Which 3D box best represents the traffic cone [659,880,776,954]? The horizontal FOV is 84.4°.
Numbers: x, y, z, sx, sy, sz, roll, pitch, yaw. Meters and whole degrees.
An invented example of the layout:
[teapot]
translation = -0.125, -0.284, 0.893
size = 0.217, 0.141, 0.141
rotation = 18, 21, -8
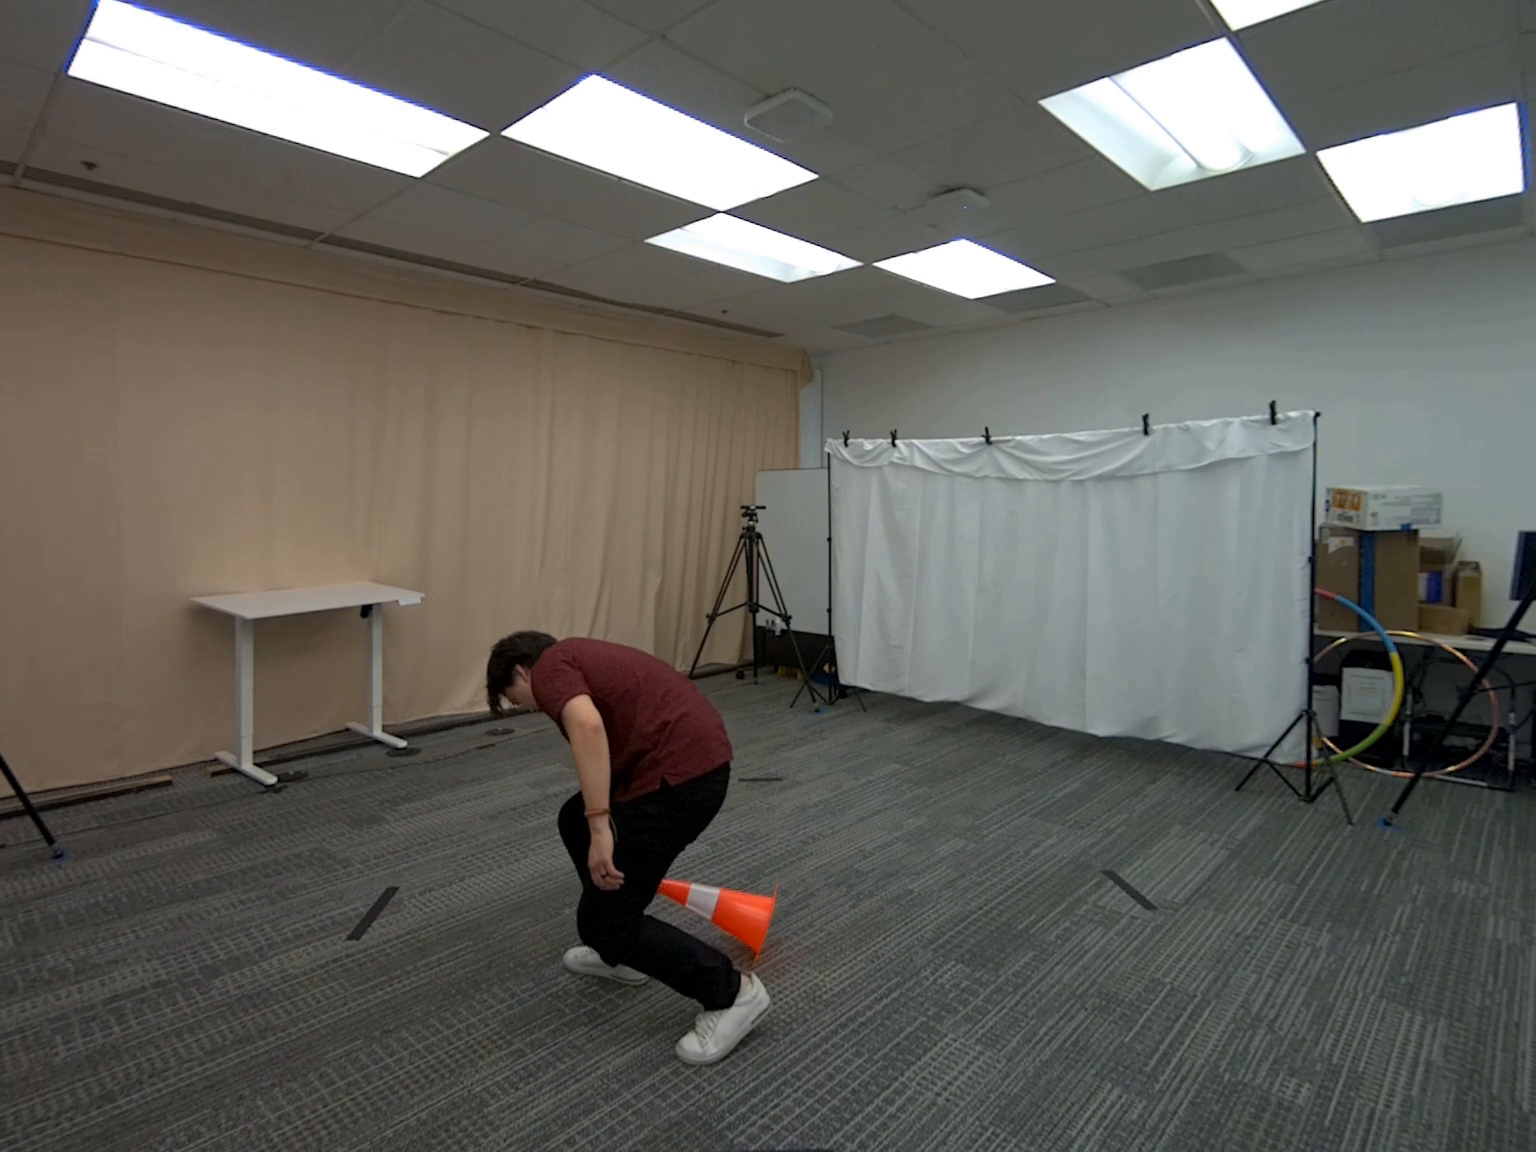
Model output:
[traffic cone]
translation = -0.184, 1.032, 2.623
size = 0.386, 0.202, 0.204
rotation = 15, 13, 5
